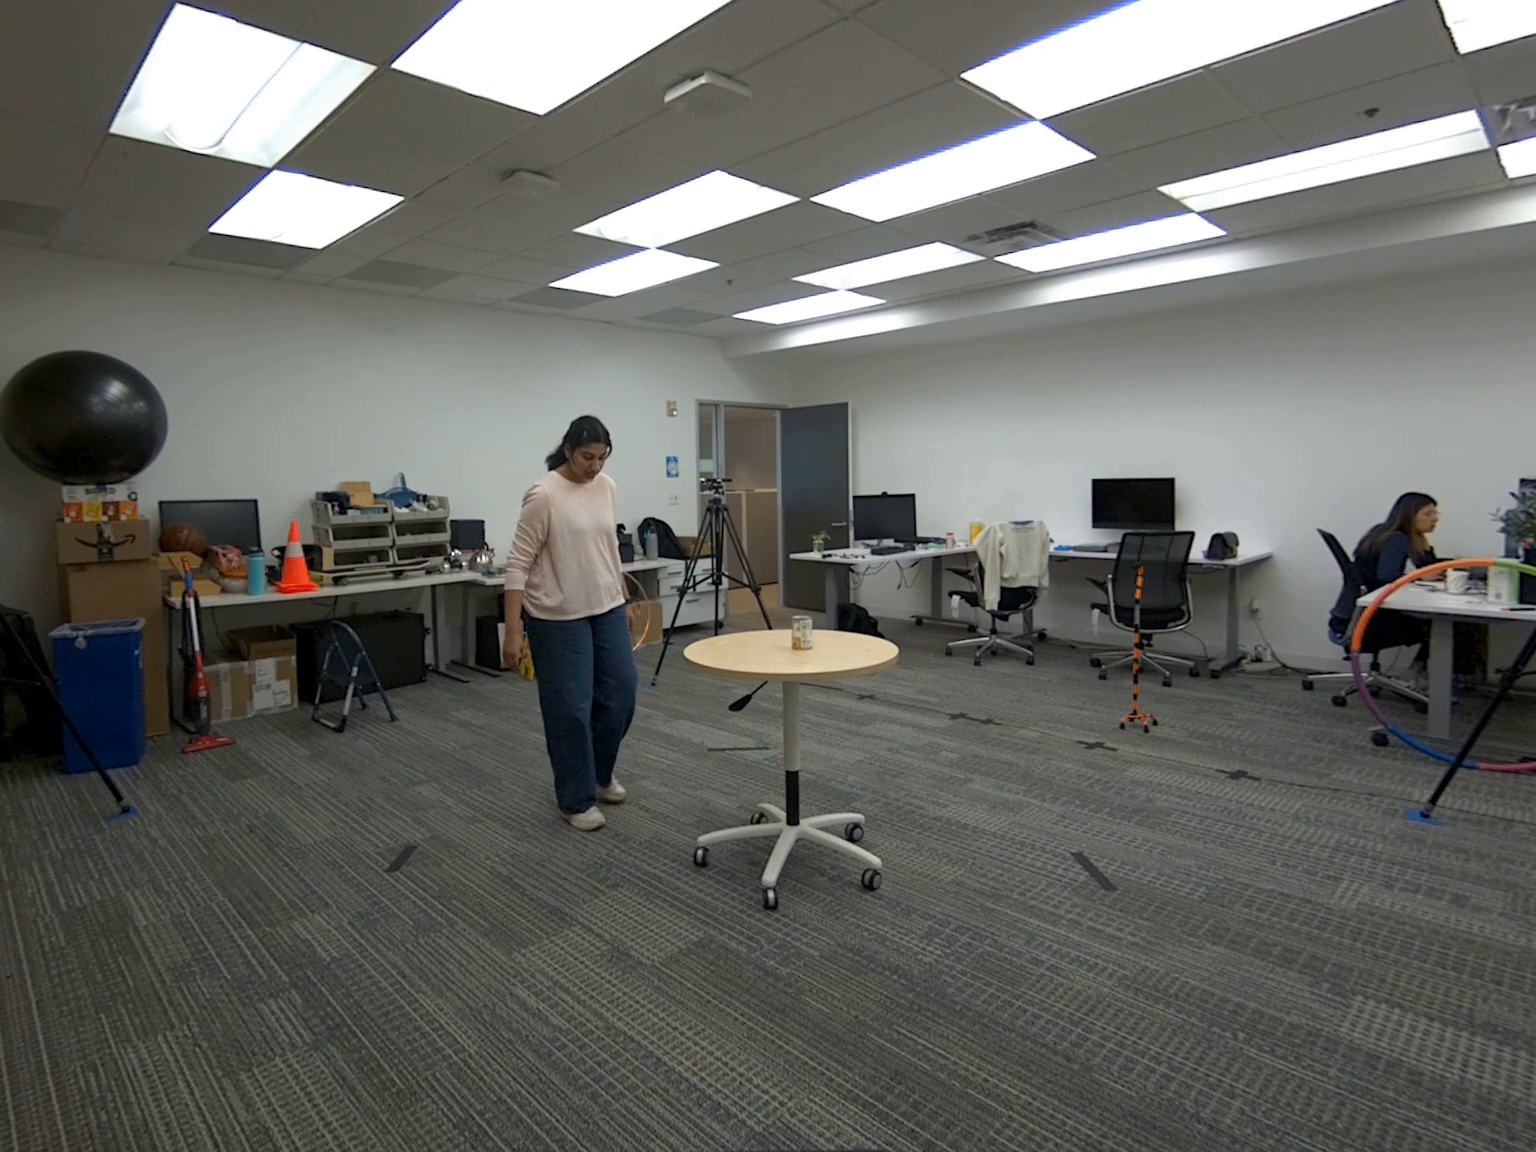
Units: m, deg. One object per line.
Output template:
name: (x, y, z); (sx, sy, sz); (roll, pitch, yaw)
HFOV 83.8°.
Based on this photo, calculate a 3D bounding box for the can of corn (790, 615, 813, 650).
can of corn: (0.121, 0.203, 3.073); (0.074, 0.110, 0.074); (-2, 5, -2)
